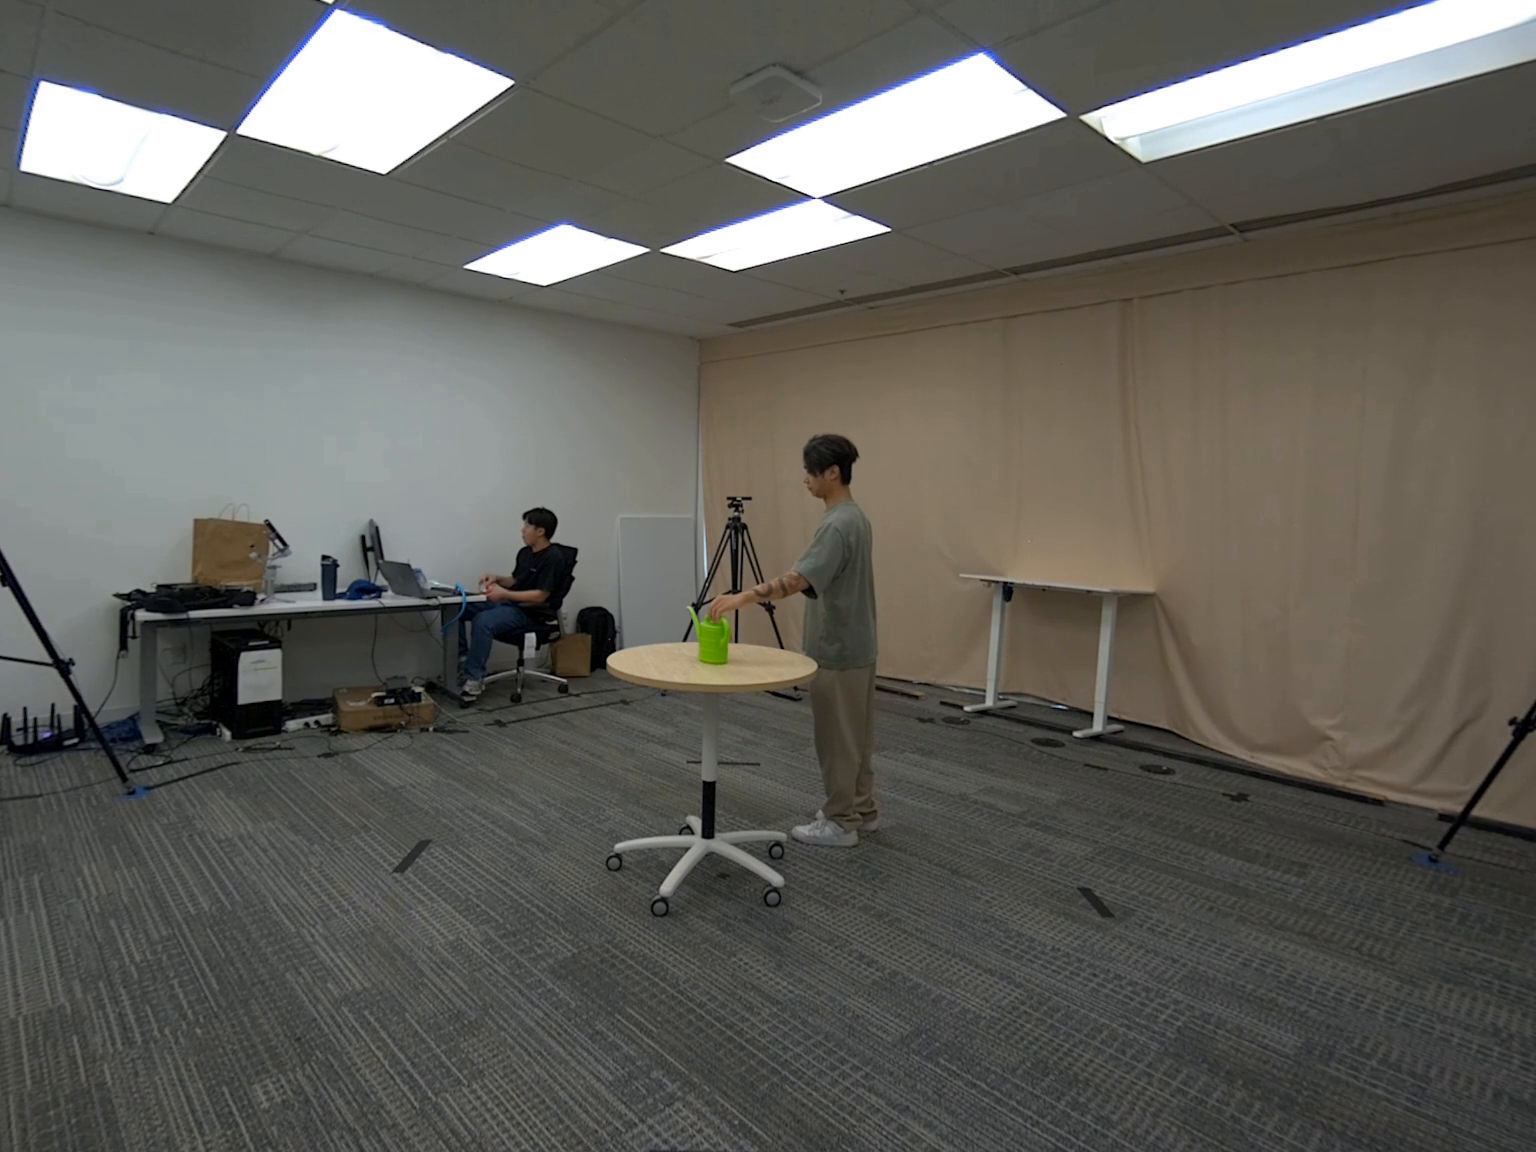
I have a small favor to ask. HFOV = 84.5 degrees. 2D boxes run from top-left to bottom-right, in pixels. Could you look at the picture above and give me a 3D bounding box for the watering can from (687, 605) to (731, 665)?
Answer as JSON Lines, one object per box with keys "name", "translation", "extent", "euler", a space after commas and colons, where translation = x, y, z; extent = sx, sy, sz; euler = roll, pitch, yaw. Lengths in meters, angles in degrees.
{"name": "watering can", "translation": [-0.218, 0.223, 3.102], "extent": [0.096, 0.176, 0.284], "euler": [2, 6, -21]}
